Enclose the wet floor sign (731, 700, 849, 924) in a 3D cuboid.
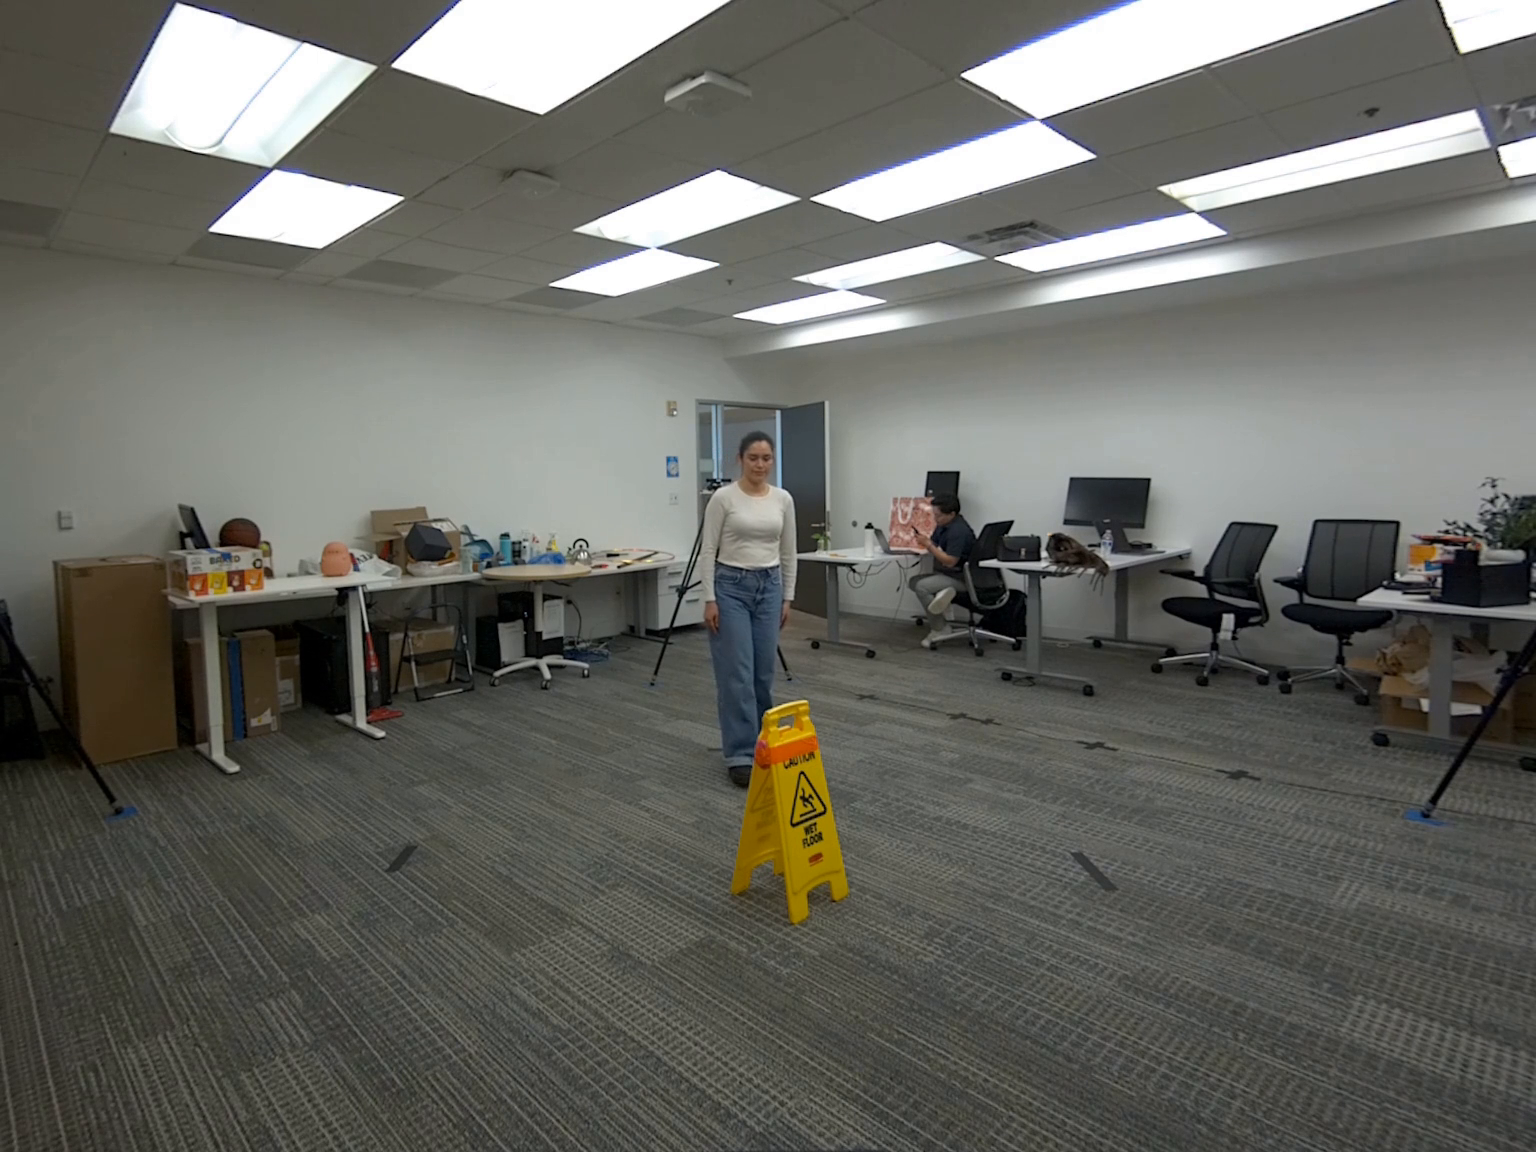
[{"bbox_3d":[0.069,0.751,2.846,0.275,0.643,0.299,-5,7,-44],"label":"wet floor sign"}]
